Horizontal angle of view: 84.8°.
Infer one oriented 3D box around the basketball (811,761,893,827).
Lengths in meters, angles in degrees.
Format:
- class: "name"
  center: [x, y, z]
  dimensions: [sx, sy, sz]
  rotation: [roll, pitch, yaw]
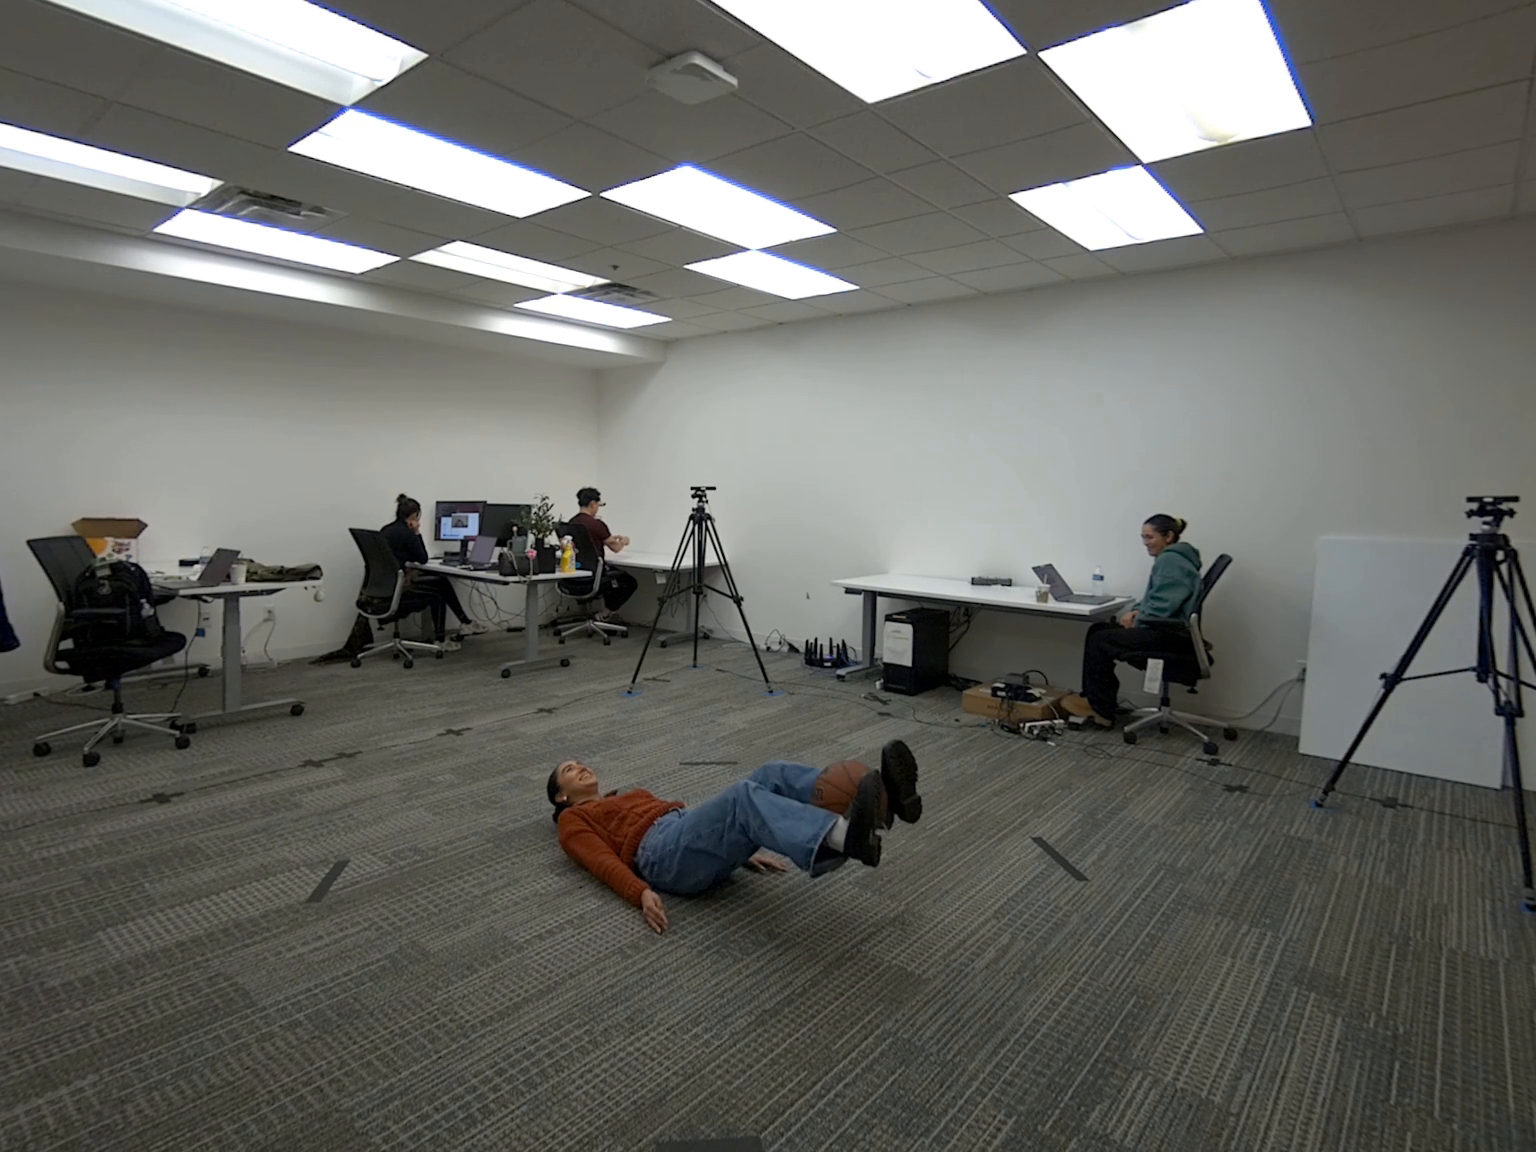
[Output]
- class: "basketball"
  center: [0.239, 0.689, 2.632]
  dimensions: [0.236, 0.235, 0.237]
  rotation: [1, 4, -2]
